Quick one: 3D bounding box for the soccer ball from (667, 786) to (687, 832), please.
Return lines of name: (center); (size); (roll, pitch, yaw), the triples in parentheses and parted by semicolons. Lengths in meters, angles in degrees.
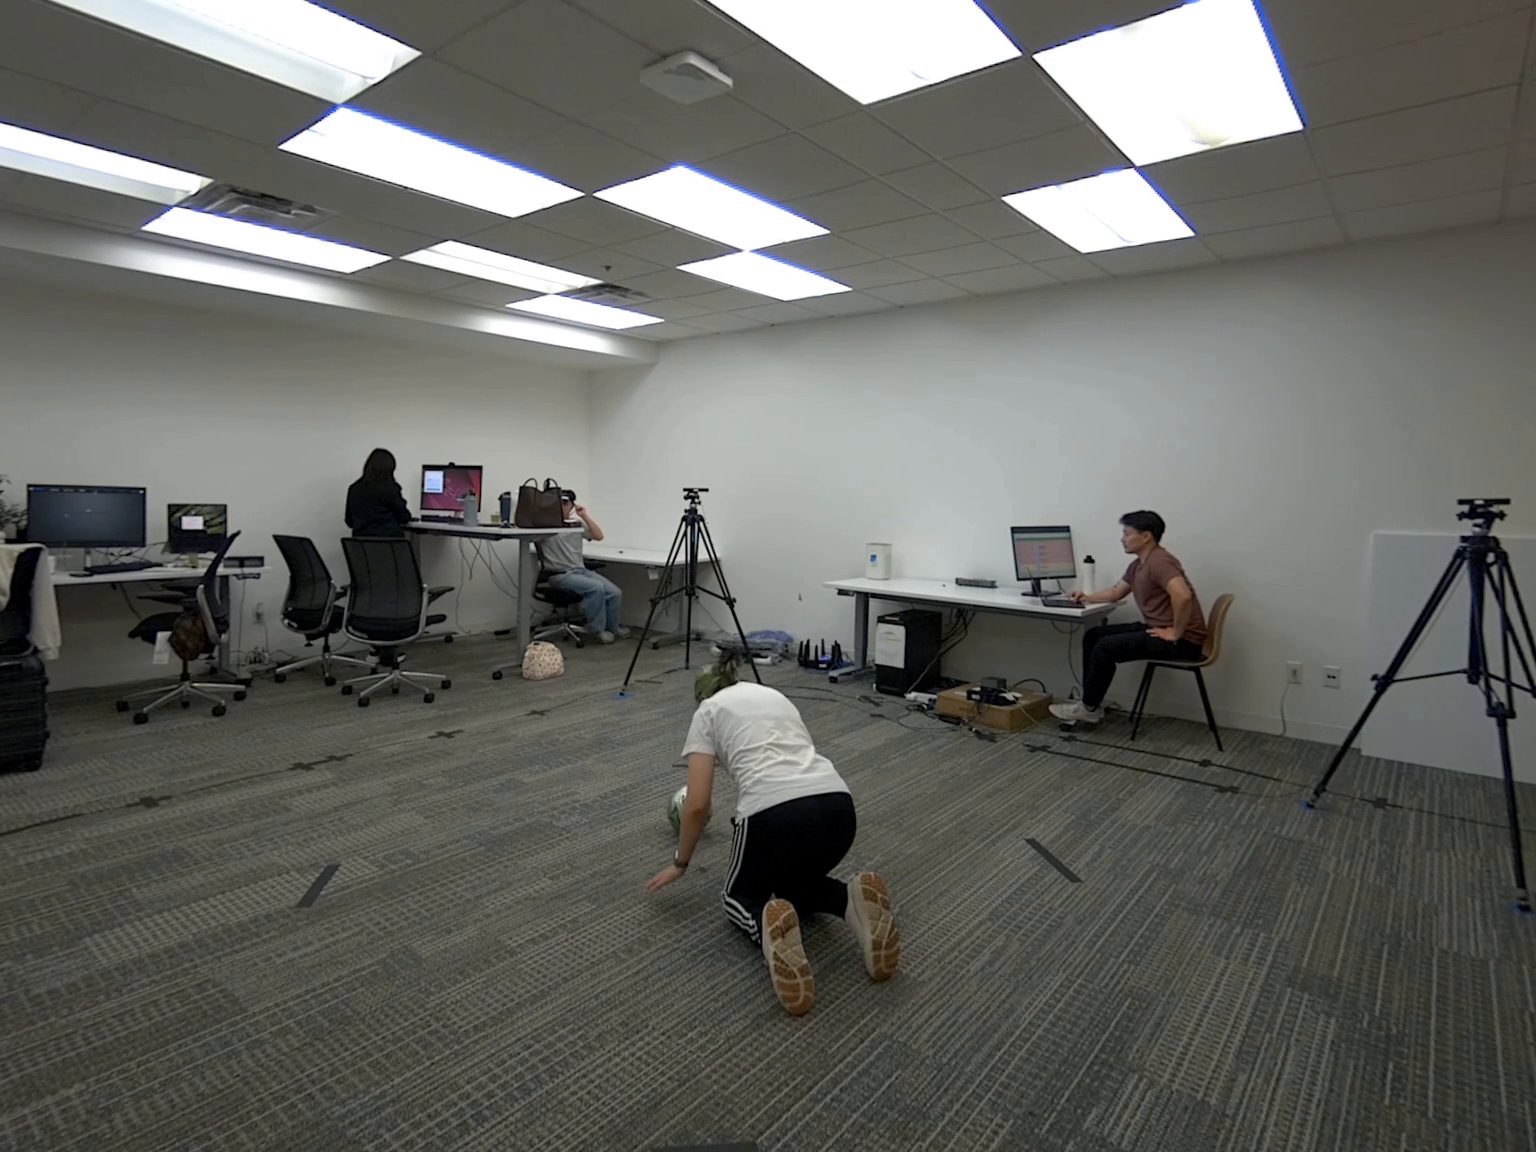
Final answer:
soccer ball: (-0.326, 0.939, 3.436); (0.187, 0.187, 0.188); (1, 4, -2)
